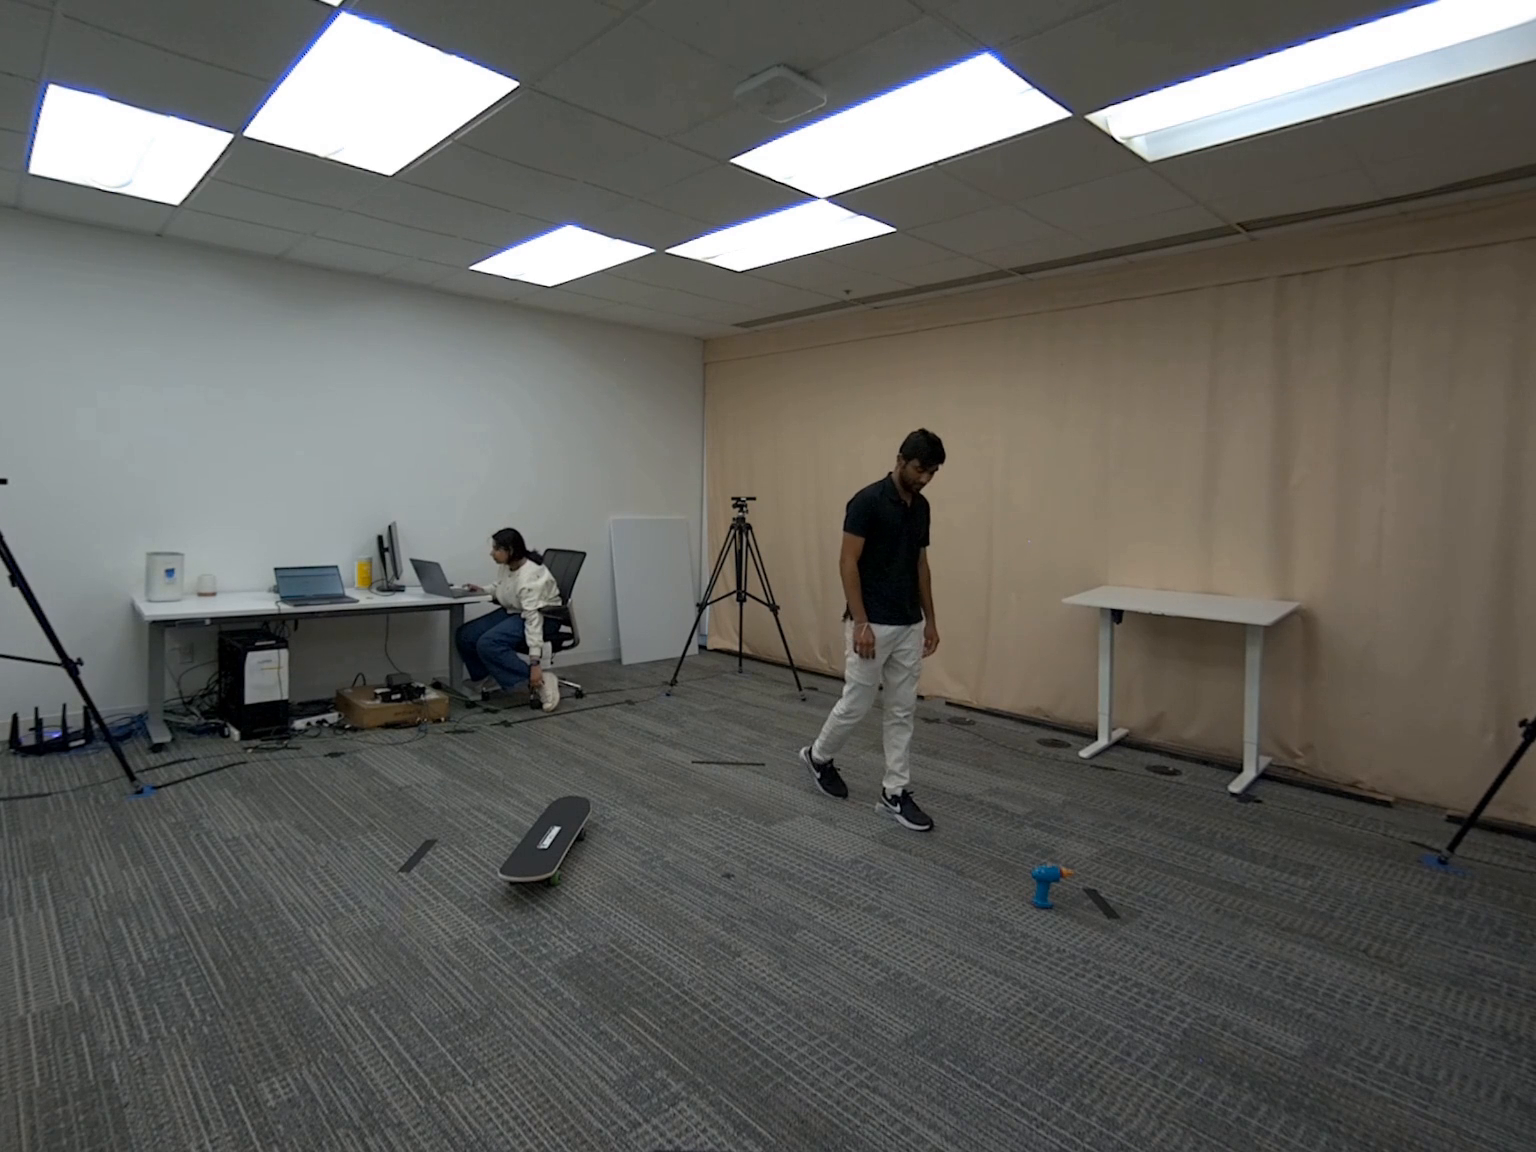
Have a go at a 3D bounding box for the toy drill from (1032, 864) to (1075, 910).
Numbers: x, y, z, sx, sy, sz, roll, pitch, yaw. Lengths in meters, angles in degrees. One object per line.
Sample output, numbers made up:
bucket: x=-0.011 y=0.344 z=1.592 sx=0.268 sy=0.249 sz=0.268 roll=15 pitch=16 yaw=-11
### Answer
toy drill: x=0.998 y=1.086 z=2.940 sx=0.168 sy=0.145 sz=0.062 roll=7 pitch=4 yaw=-10
